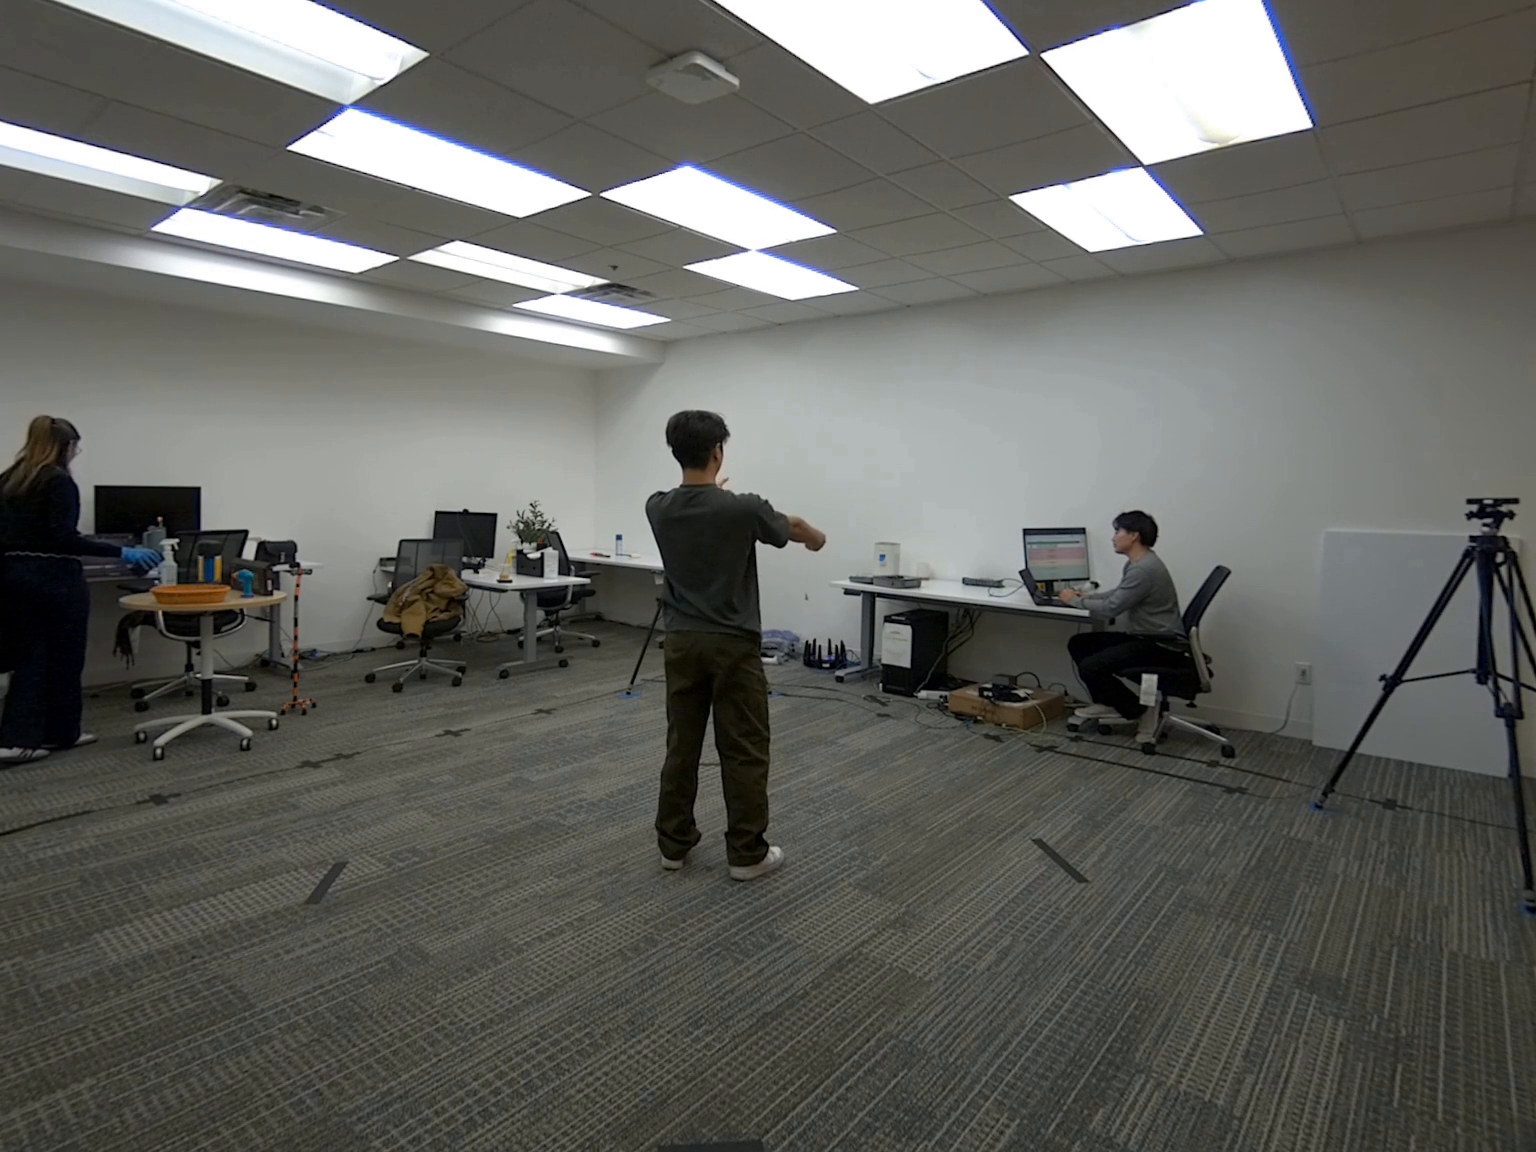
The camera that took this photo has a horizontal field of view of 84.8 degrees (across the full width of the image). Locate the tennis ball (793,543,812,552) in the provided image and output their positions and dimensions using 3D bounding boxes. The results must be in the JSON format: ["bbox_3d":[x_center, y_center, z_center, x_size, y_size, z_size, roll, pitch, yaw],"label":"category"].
[{"bbox_3d":[0.141,-0.140,3.479,0.066,0.066,0.067,1,4,-2],"label":"tennis ball"}]
